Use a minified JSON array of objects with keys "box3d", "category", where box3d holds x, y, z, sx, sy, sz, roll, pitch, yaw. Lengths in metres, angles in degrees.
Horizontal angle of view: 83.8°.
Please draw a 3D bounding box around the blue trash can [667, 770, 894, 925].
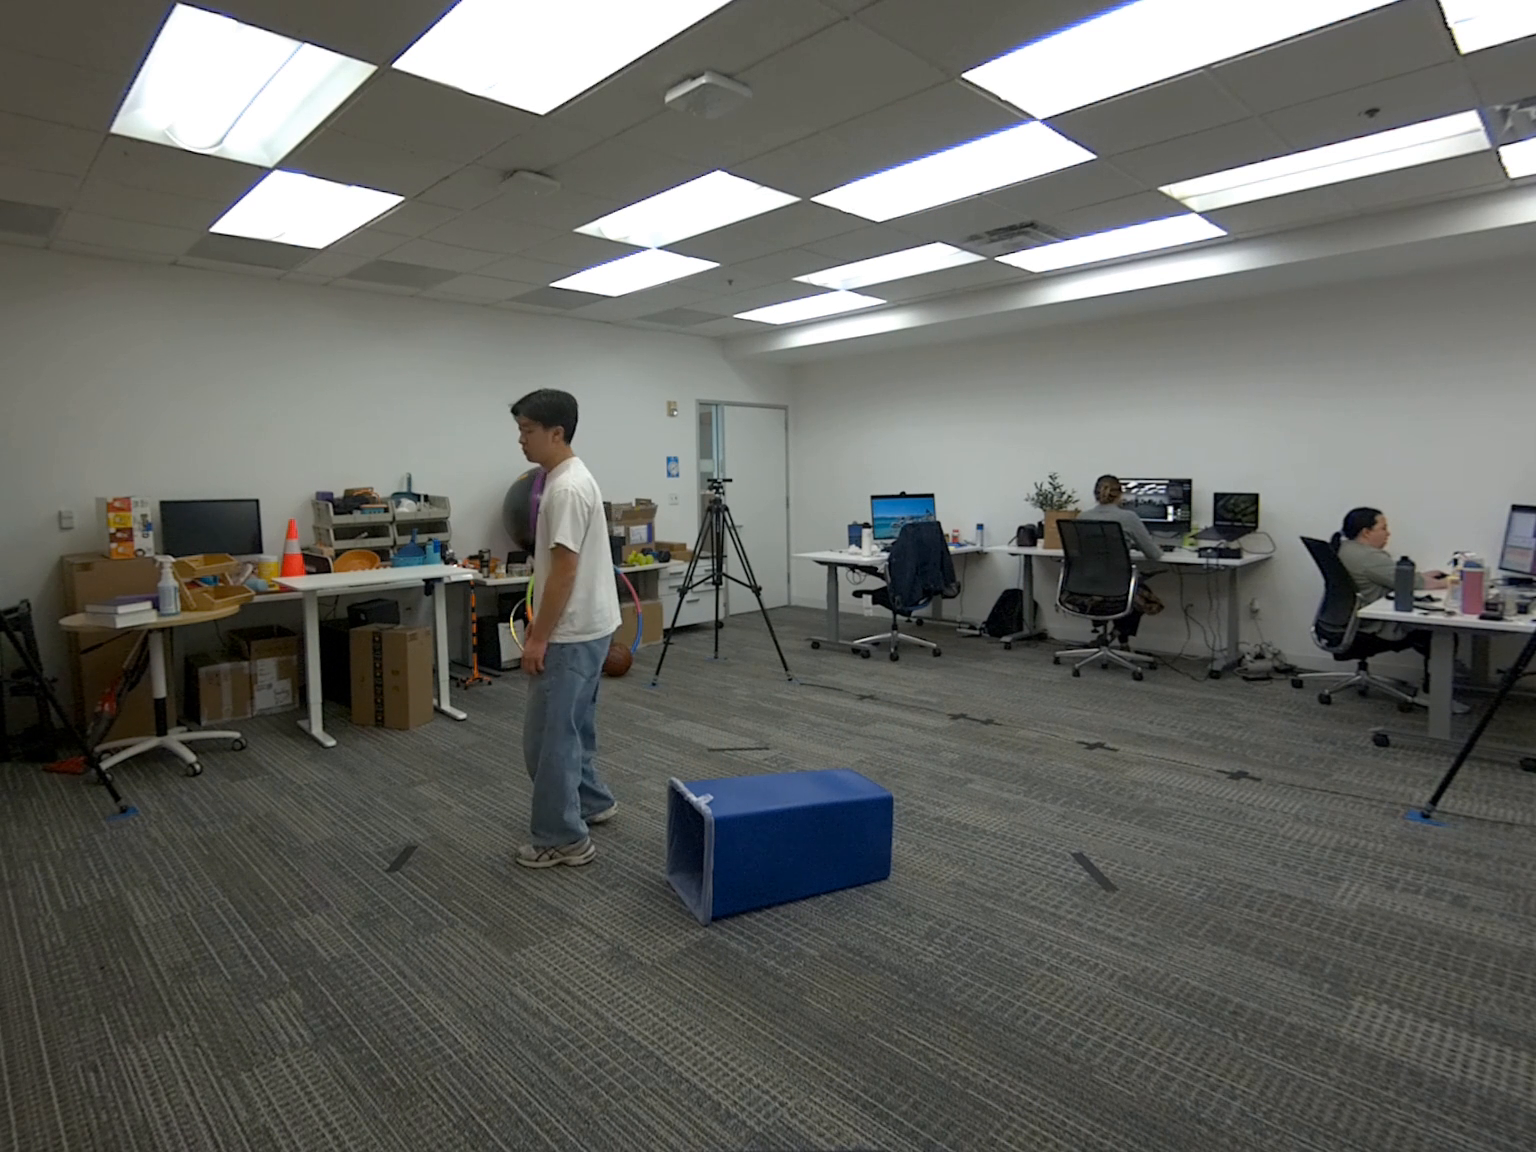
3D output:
[{"box3d":[0.048,0.898,2.954,0.698,0.377,0.383,-1,5,-25],"category":"blue trash can"}]
